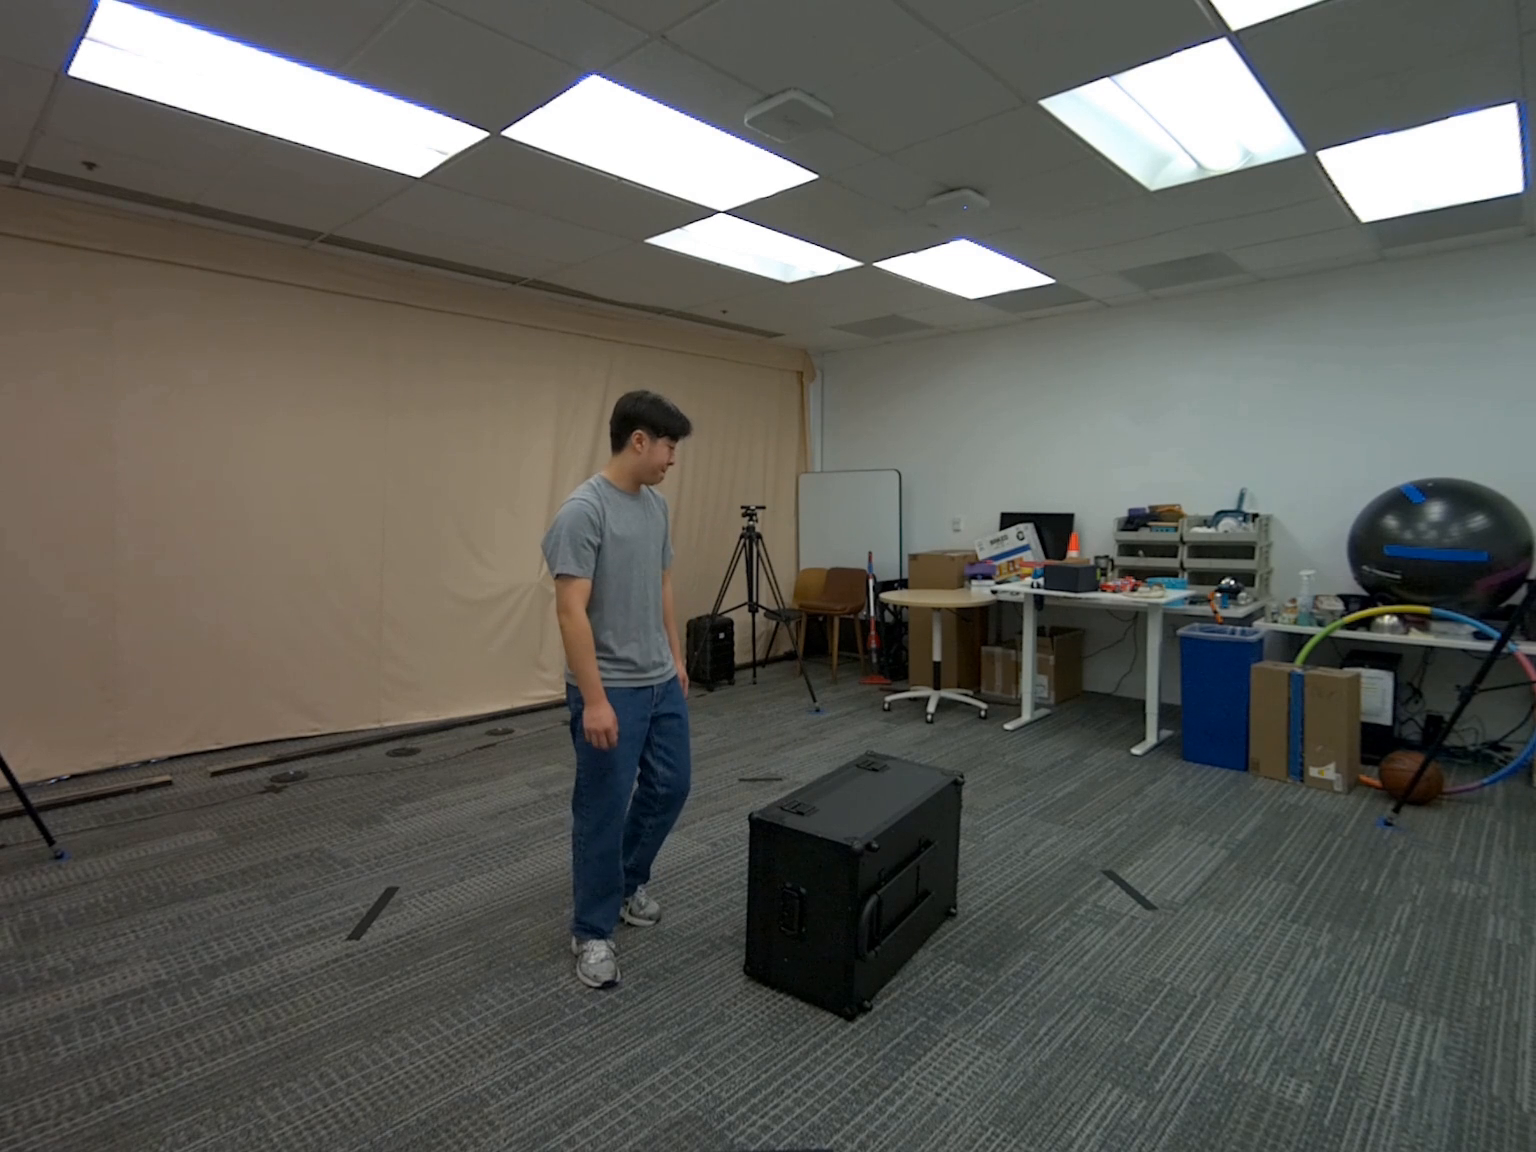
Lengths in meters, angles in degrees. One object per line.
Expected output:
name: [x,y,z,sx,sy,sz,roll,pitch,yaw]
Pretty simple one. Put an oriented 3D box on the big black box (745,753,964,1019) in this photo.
big black box: [0.326,0.912,2.681,0.409,0.520,0.837,5,6,34]
